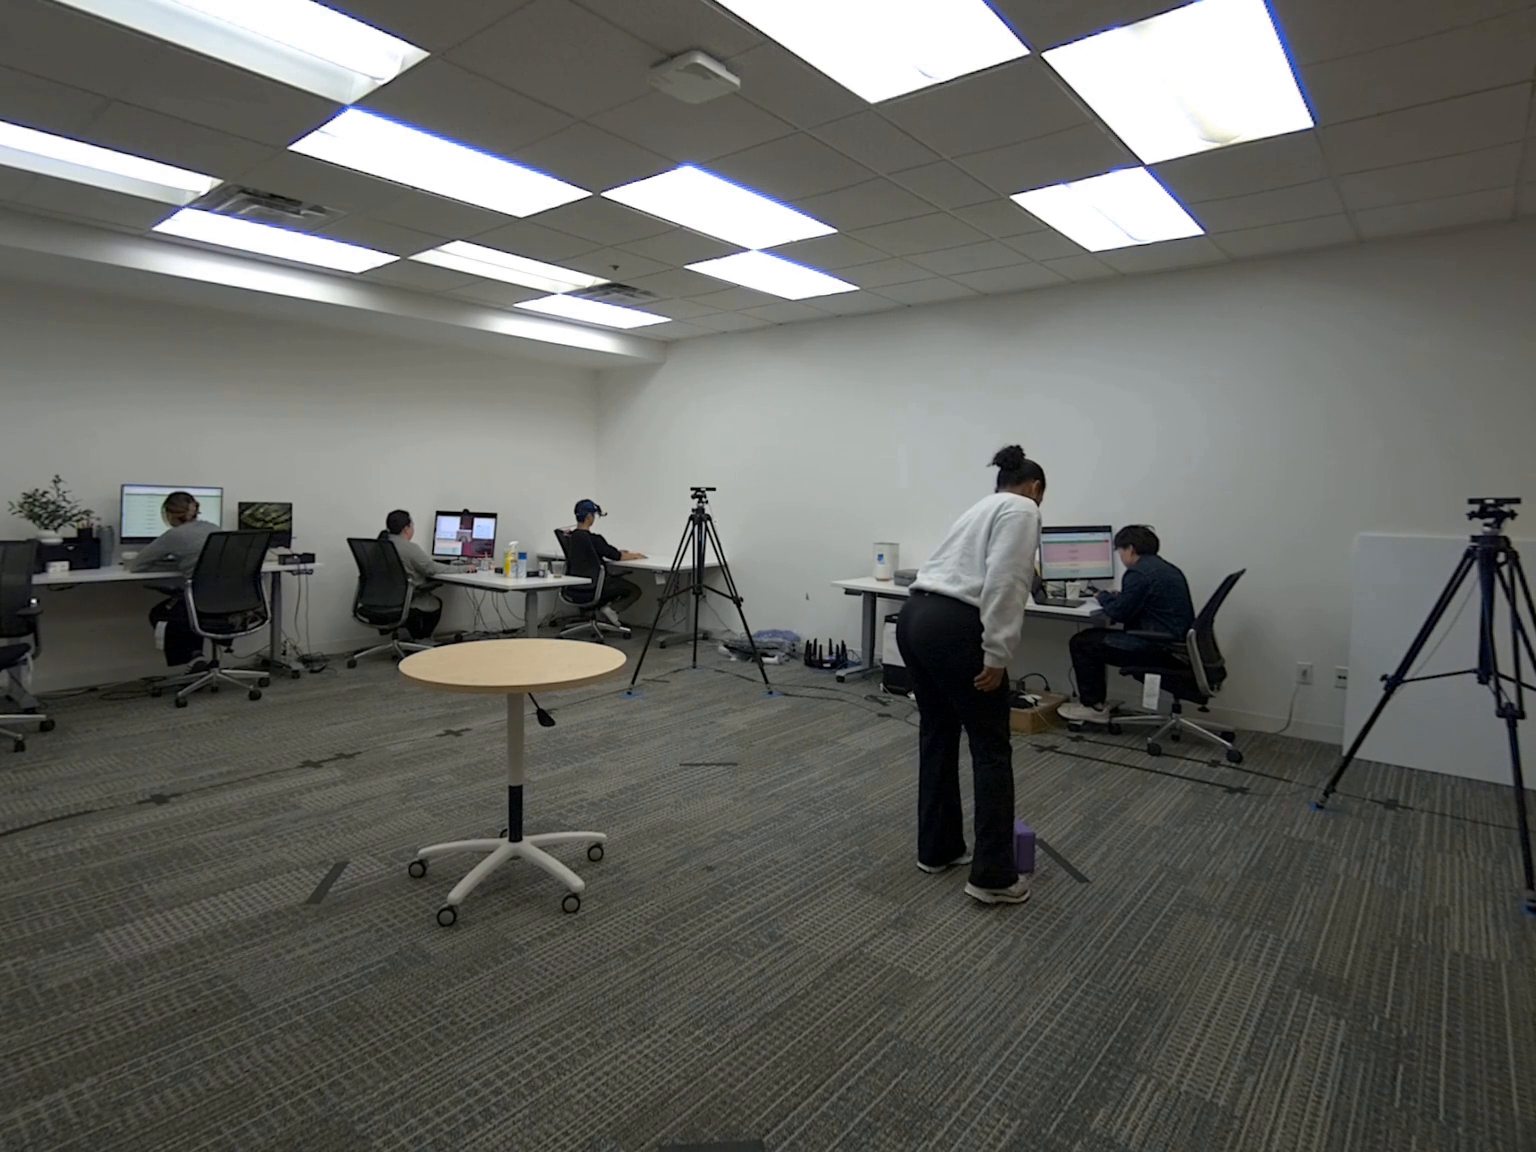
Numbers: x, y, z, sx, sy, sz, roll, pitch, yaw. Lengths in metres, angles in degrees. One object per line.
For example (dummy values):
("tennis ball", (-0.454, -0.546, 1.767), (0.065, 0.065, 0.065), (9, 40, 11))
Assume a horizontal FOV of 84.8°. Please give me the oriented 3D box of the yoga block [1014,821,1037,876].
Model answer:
("yoga block", (0.921, 1.006, 3.243), (0.075, 0.148, 0.233), (1, 4, -14))
